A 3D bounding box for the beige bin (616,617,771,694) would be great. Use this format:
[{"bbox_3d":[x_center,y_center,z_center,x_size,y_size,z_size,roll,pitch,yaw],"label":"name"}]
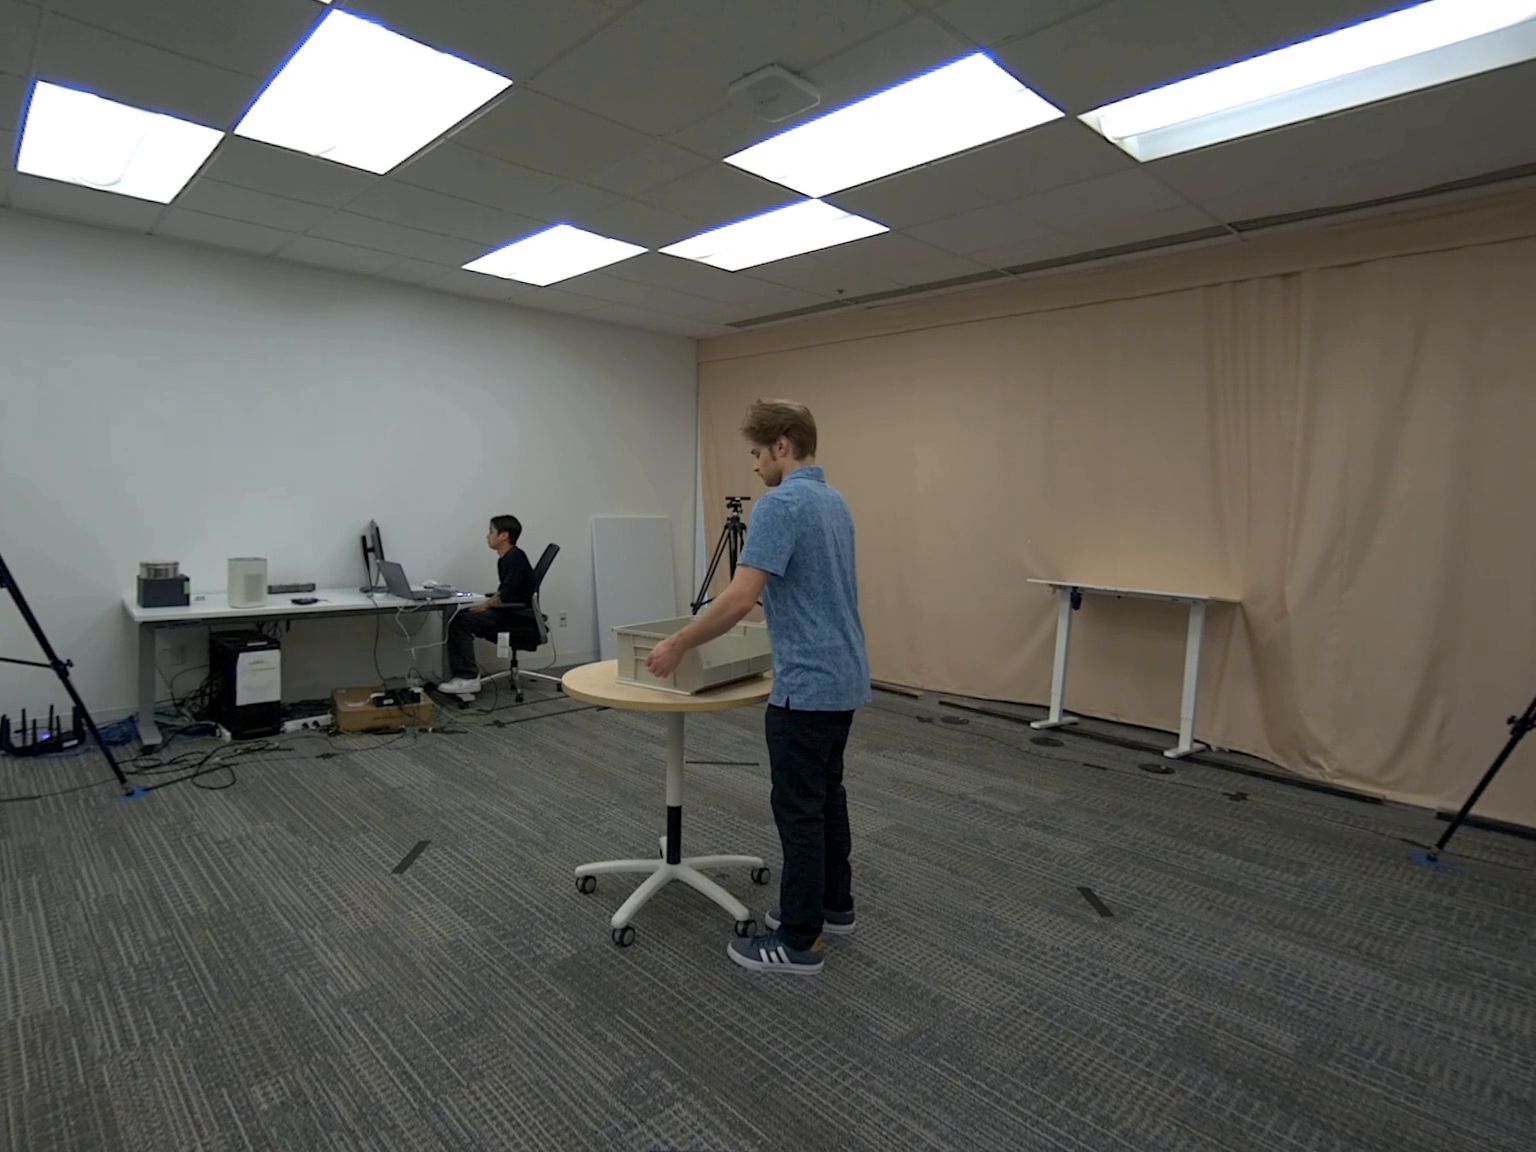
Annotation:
[{"bbox_3d":[-0.244,0.261,2.801,0.386,0.188,0.413,2,4,34],"label":"beige bin"}]
